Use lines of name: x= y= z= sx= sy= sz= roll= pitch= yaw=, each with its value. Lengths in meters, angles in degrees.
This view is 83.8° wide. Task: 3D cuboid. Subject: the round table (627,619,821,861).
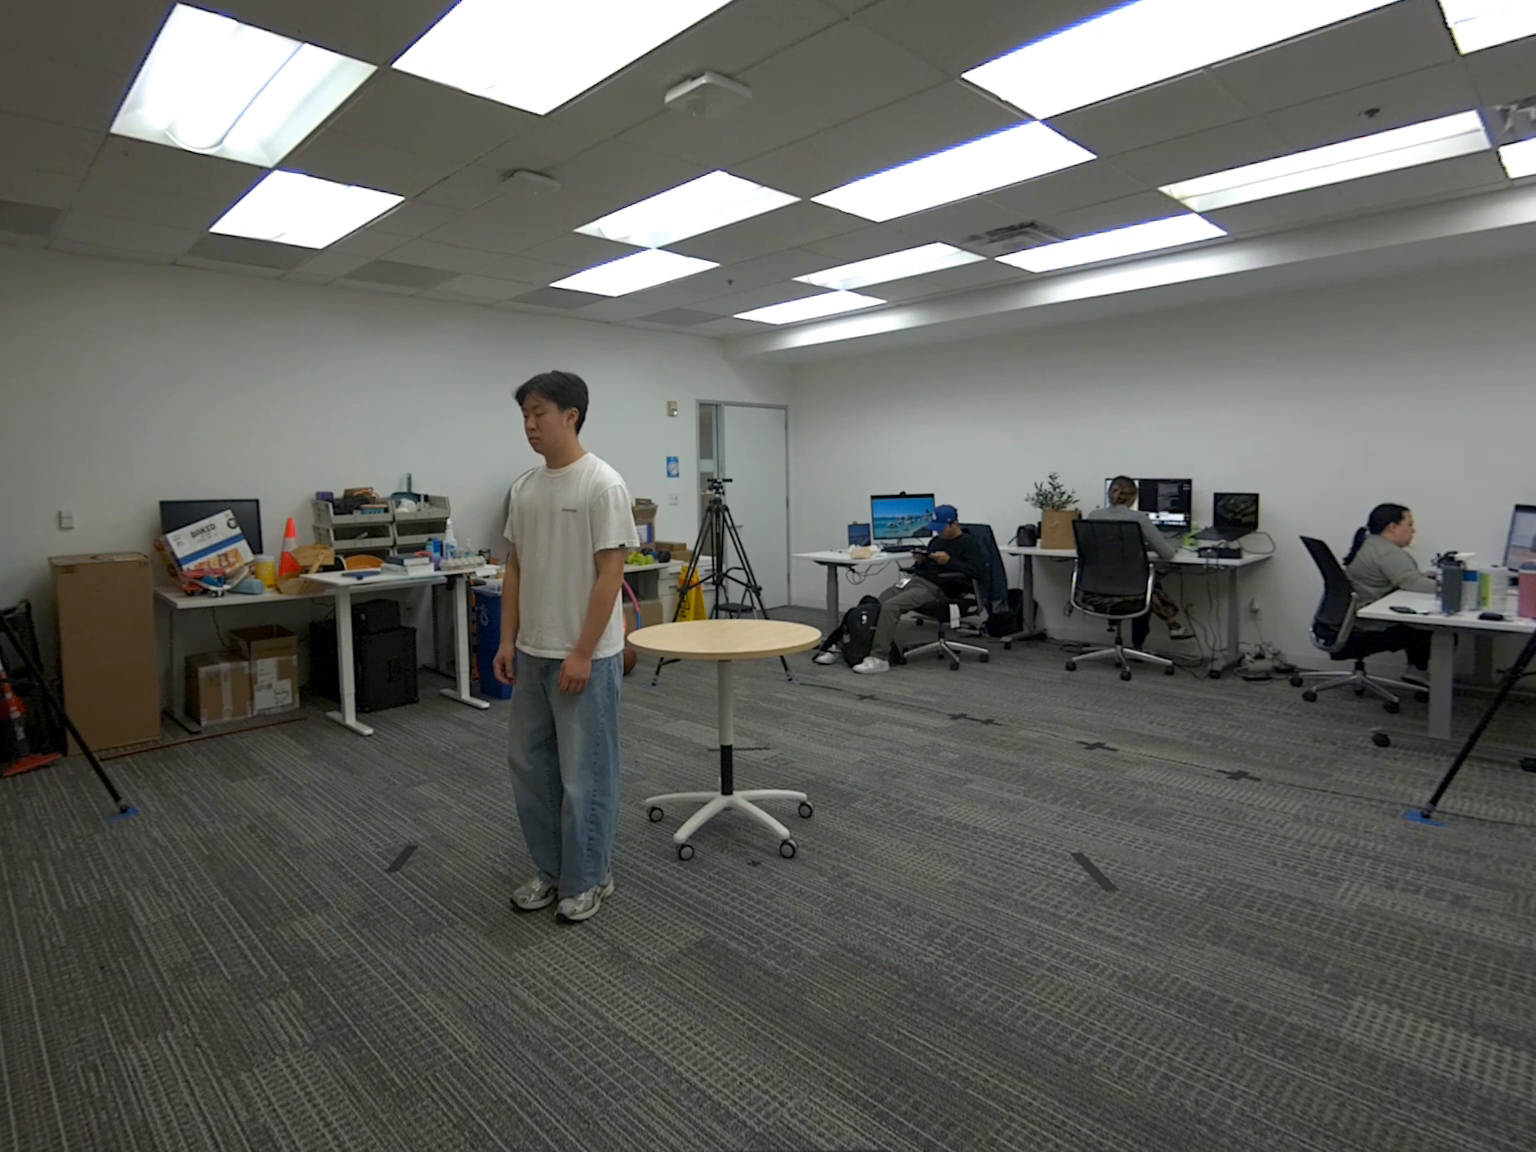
round table: x=-0.156 y=0.623 z=3.408 sx=0.763 sy=0.791 sz=0.767 roll=-1 pitch=4 yaw=-2
